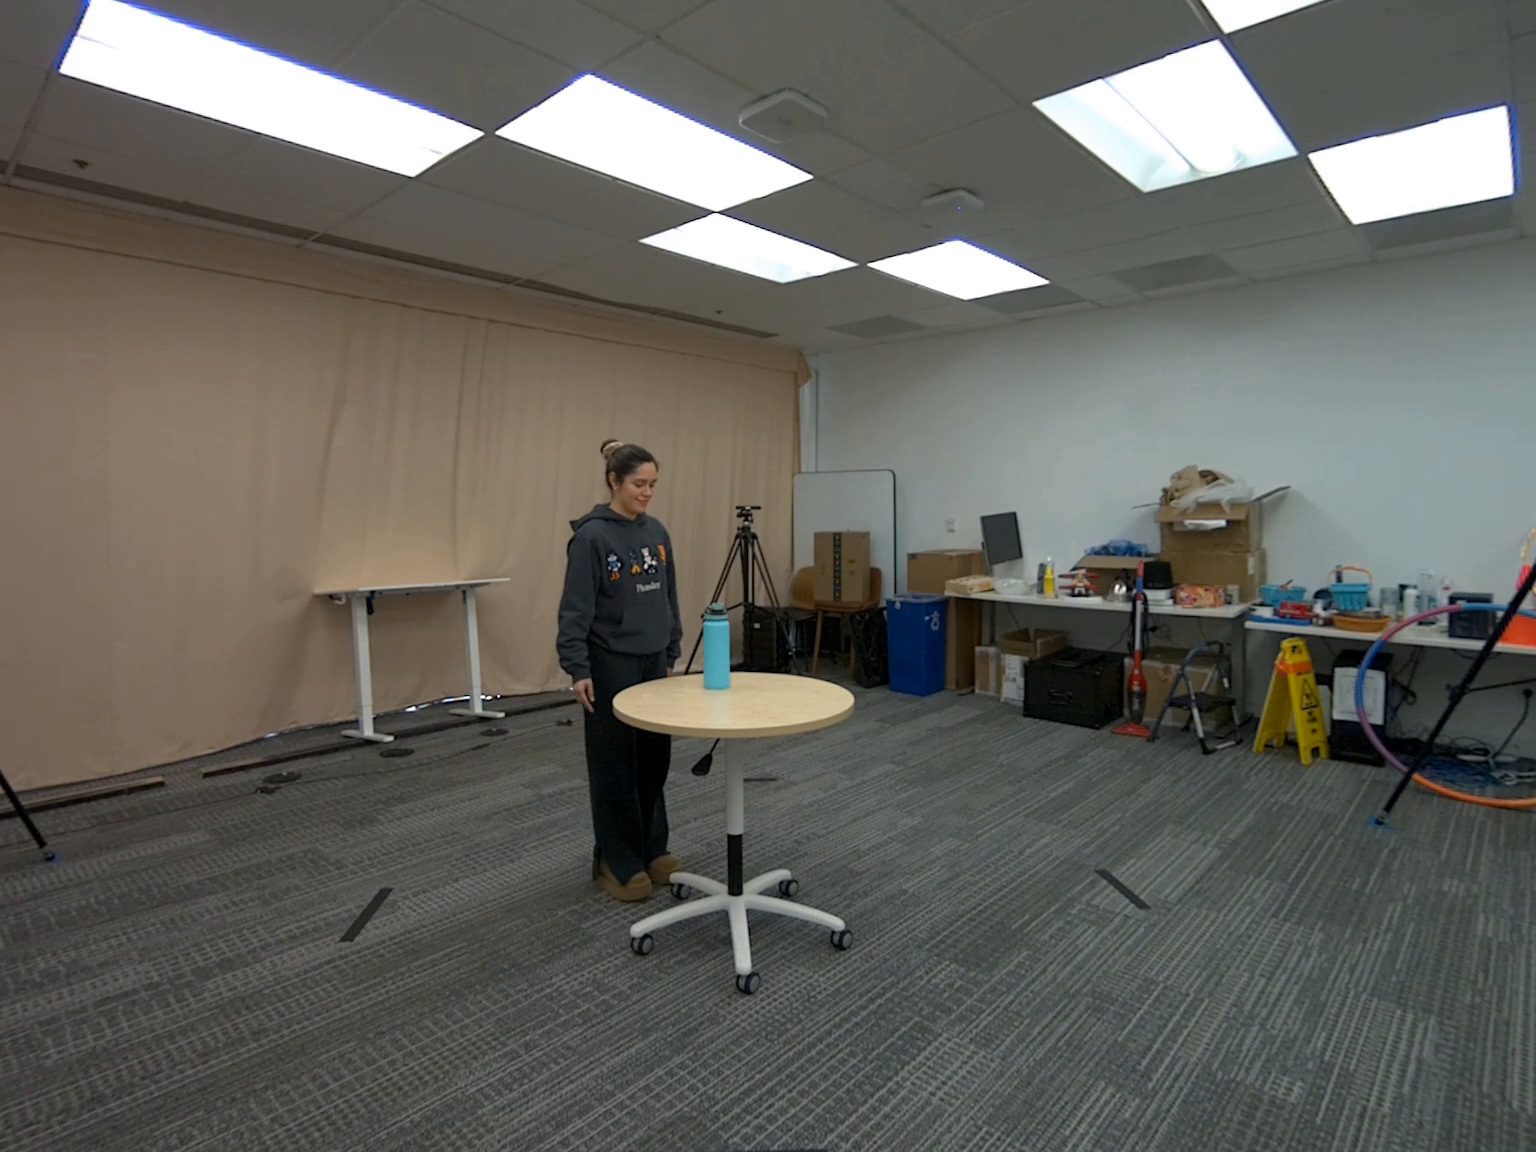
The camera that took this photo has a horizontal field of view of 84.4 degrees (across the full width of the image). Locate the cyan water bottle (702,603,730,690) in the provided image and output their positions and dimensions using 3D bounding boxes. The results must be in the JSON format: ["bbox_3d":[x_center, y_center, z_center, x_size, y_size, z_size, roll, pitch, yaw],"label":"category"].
[{"bbox_3d":[-0.163,0.236,2.830,0.092,0.283,0.092,-3,2,-2],"label":"cyan water bottle"}]
